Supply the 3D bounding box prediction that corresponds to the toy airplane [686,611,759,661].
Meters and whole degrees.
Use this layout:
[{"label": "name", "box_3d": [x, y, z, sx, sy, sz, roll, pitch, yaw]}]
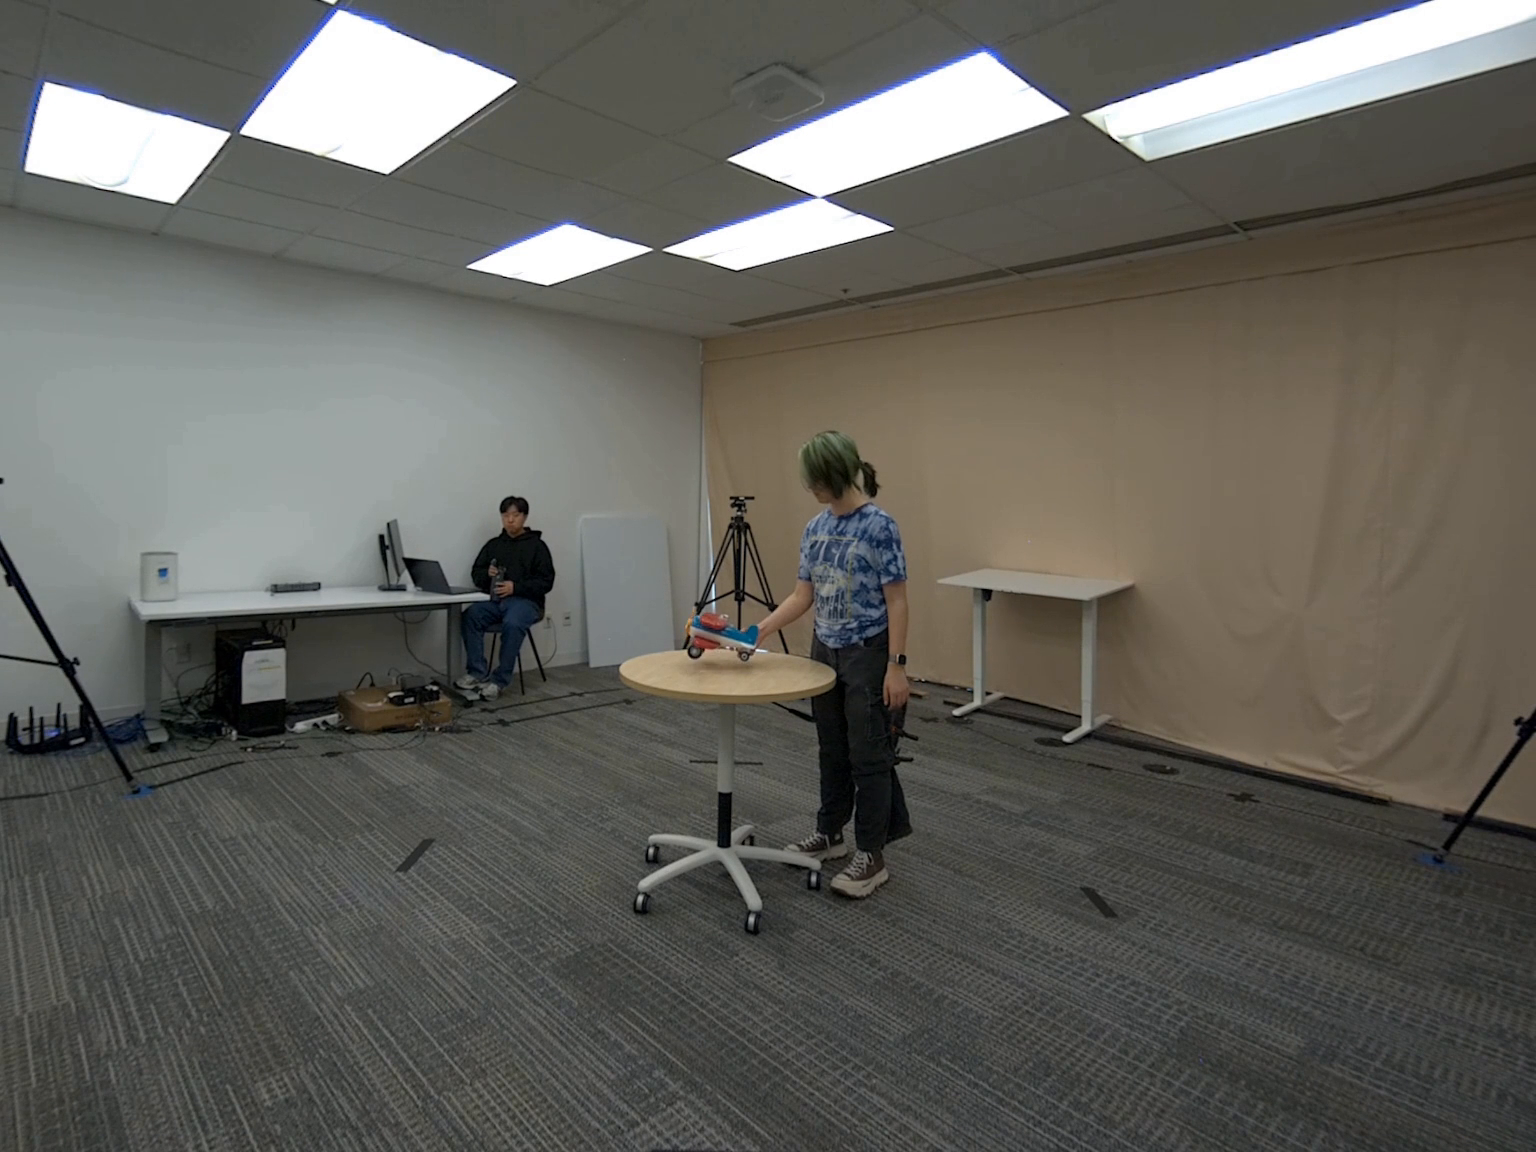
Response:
[{"label": "toy airplane", "box_3d": [-0.177, 0.217, 3.044, 0.255, 0.156, 0.256, 2, 3, -24]}]
